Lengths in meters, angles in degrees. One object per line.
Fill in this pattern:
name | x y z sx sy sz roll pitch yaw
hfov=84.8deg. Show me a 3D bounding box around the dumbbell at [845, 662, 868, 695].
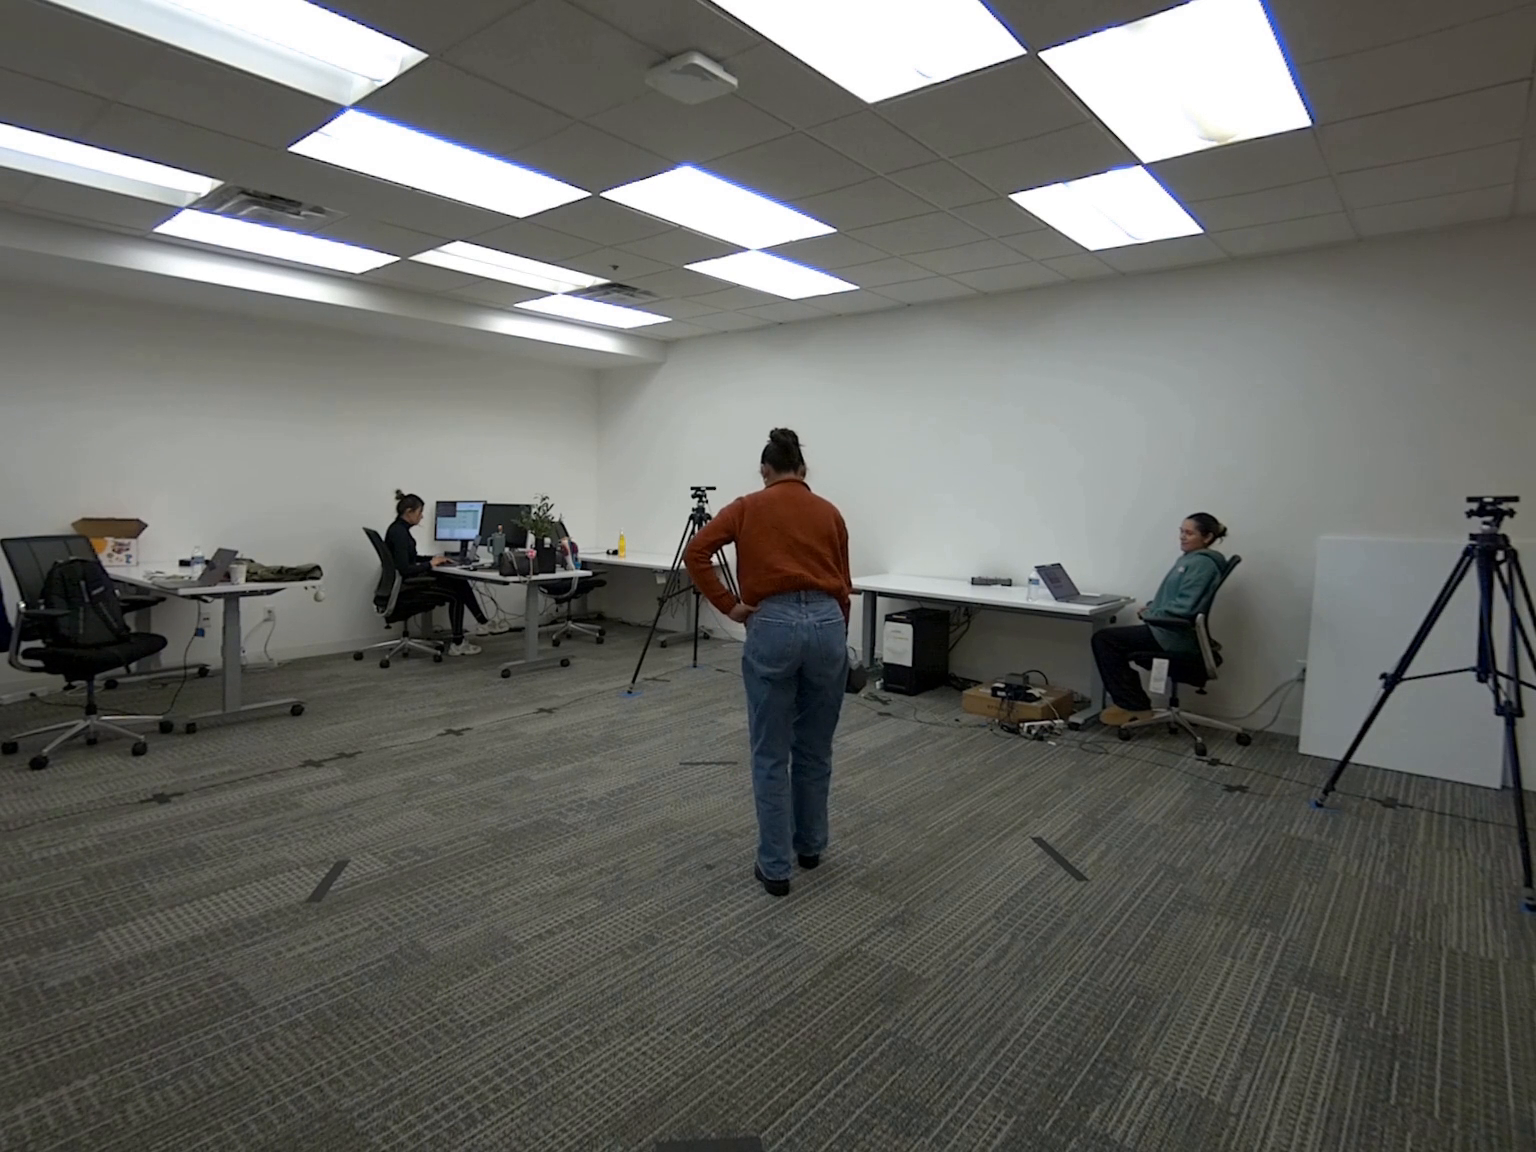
dumbbell | 0.224 0.376 3.247 0.303 0.123 0.105 0 -7 40
